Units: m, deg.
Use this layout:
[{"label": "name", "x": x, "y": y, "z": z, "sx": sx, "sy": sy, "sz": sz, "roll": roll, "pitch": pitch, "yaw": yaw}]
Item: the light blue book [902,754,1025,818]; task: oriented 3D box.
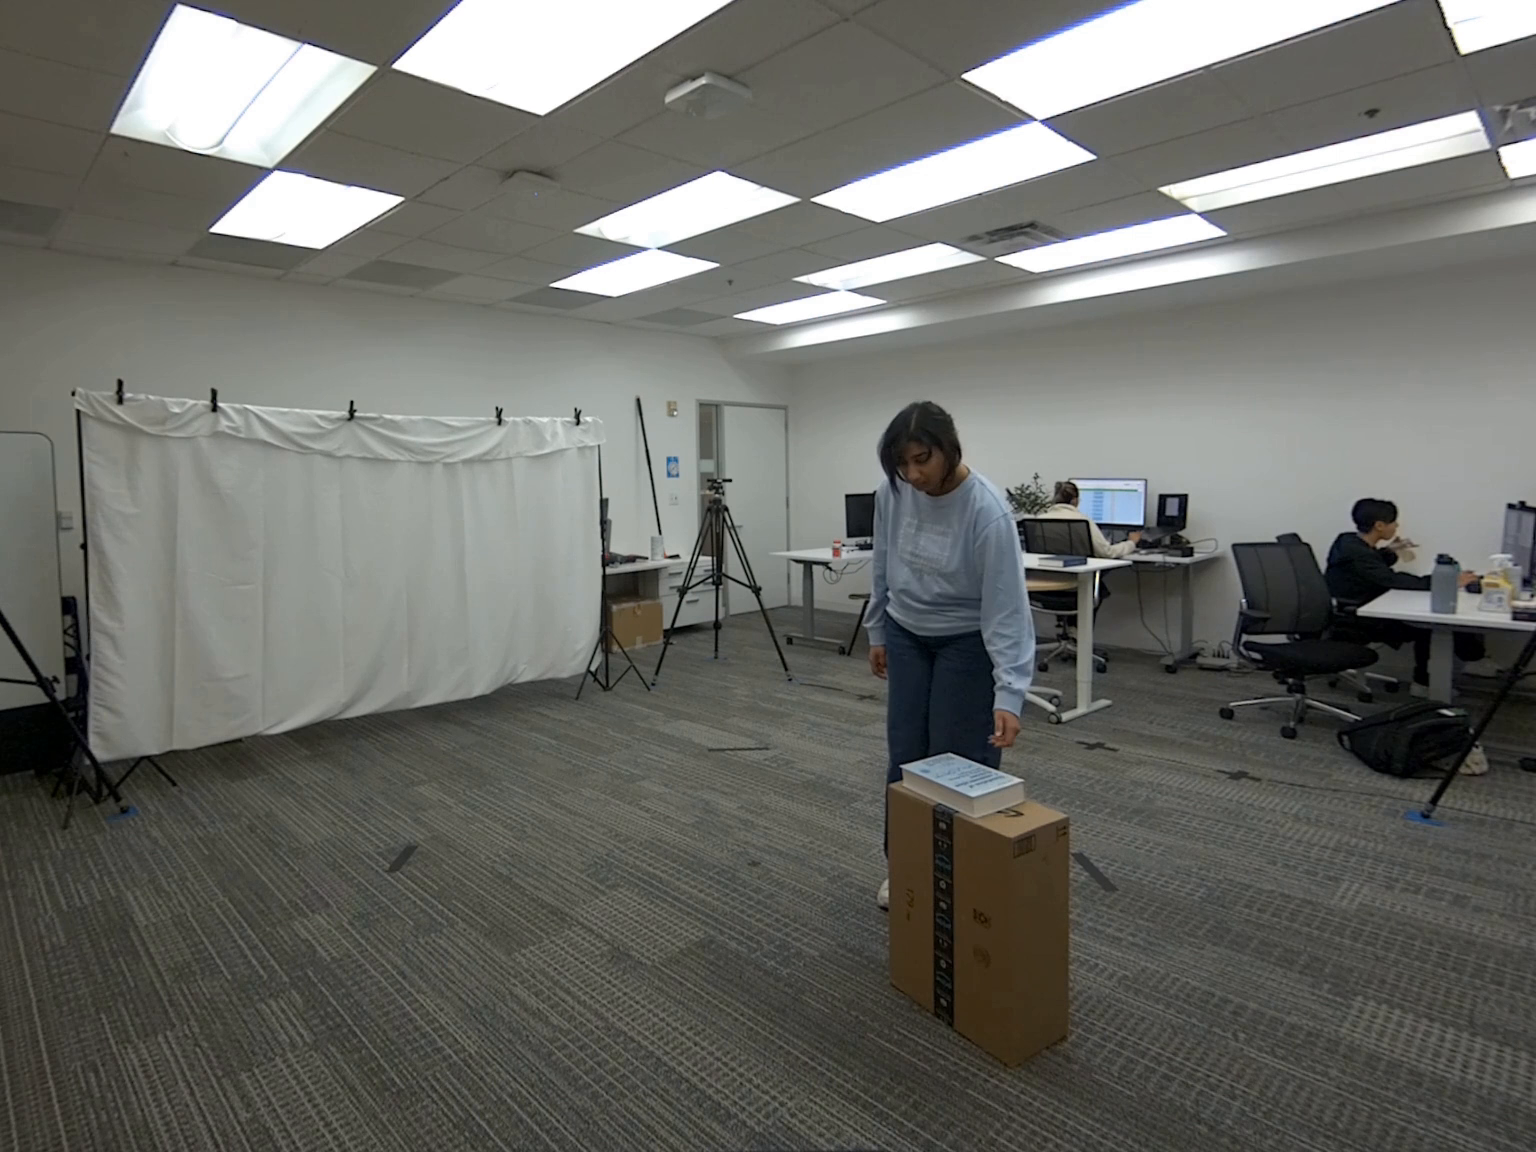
[{"label": "light blue book", "x": 0.498, "y": 0.542, "z": 2.240, "sx": 0.187, "sy": 0.059, "sz": 0.268, "roll": -7, "pitch": 9, "yaw": -32}]
